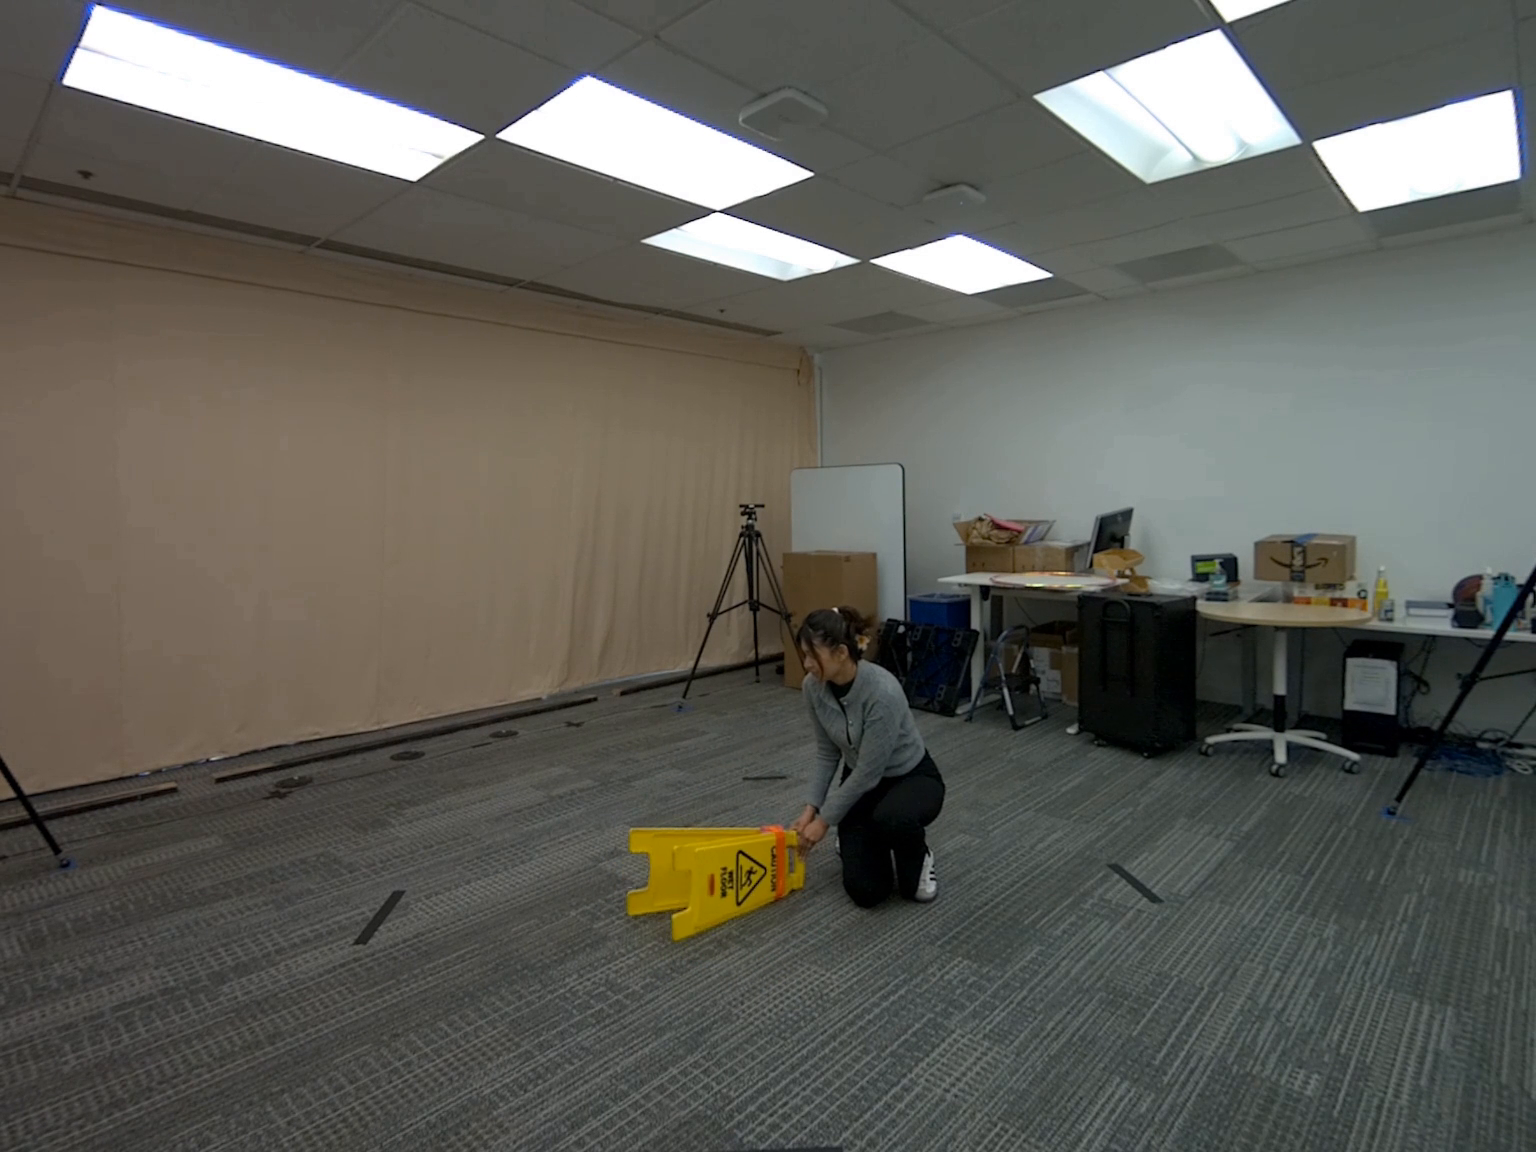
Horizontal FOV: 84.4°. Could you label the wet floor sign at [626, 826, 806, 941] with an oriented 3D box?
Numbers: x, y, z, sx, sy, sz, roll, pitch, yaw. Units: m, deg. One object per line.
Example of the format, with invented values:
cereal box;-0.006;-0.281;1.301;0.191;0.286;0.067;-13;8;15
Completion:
wet floor sign;-0.123;1.018;2.892;0.626;0.283;0.297;5;-7;-34
